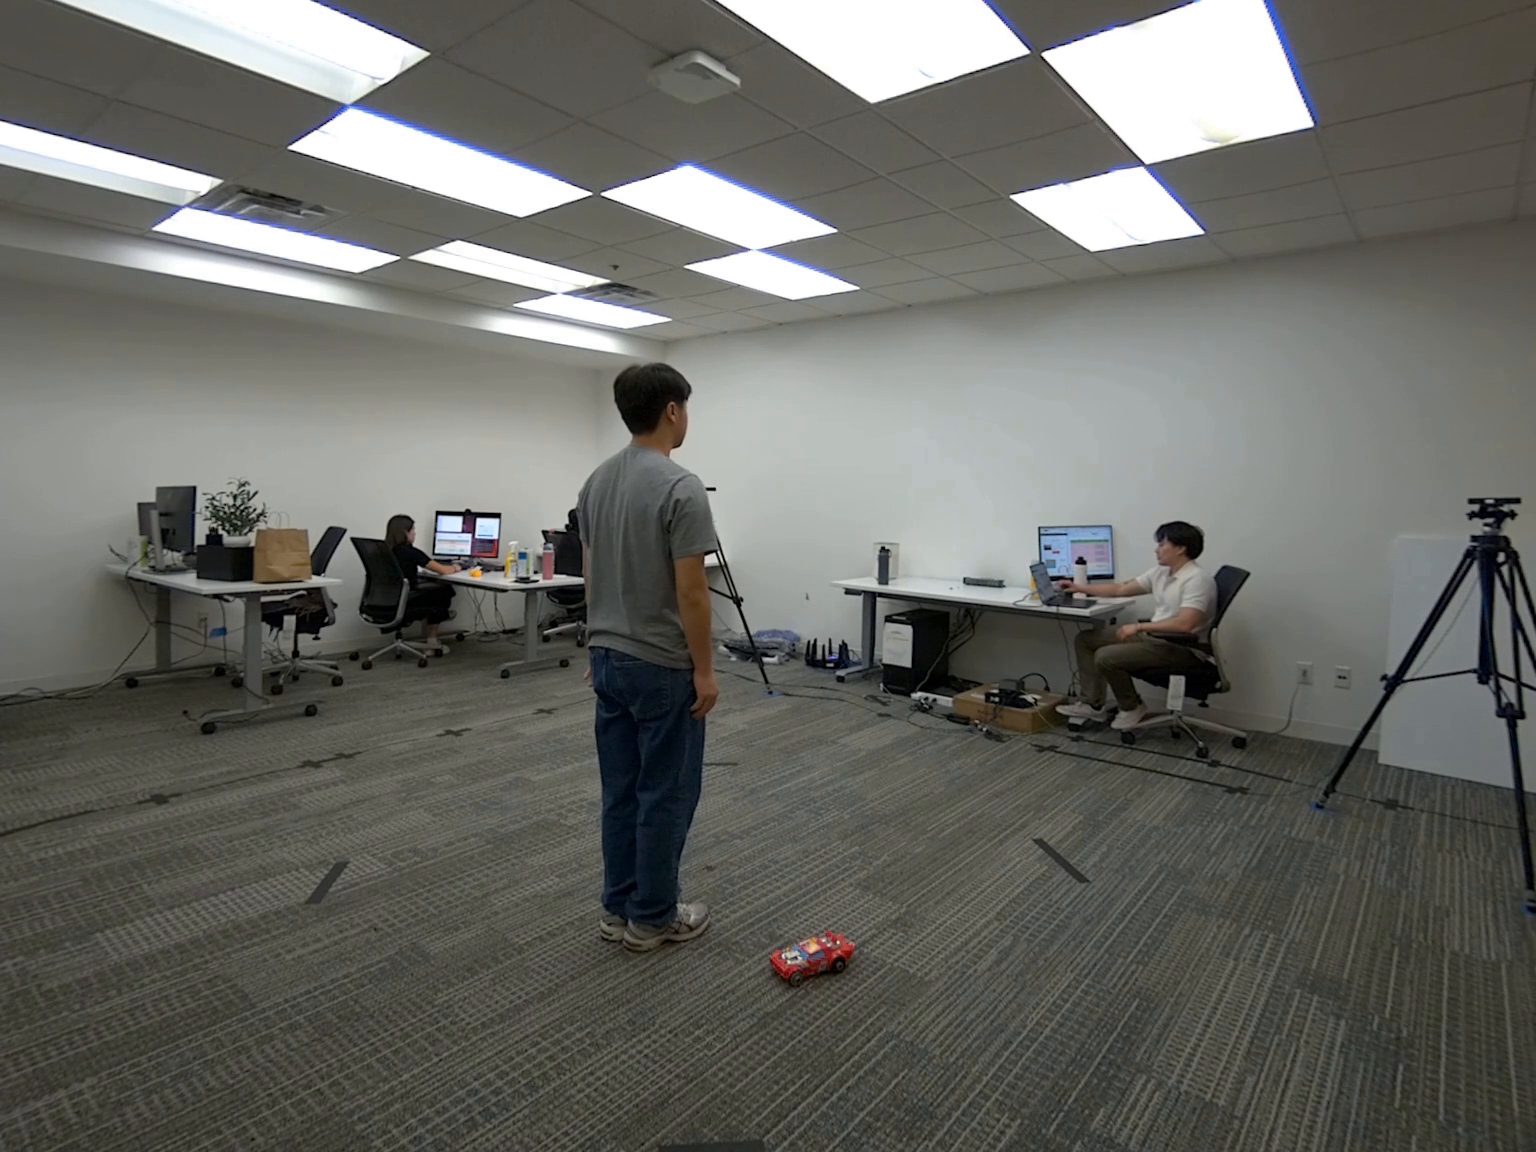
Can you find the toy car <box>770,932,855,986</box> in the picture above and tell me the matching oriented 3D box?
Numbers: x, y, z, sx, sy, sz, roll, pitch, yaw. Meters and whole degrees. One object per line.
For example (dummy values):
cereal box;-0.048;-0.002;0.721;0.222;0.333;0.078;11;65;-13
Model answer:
toy car;0.134;1.103;2.471;0.250;0.082;0.134;-15;13;-26
